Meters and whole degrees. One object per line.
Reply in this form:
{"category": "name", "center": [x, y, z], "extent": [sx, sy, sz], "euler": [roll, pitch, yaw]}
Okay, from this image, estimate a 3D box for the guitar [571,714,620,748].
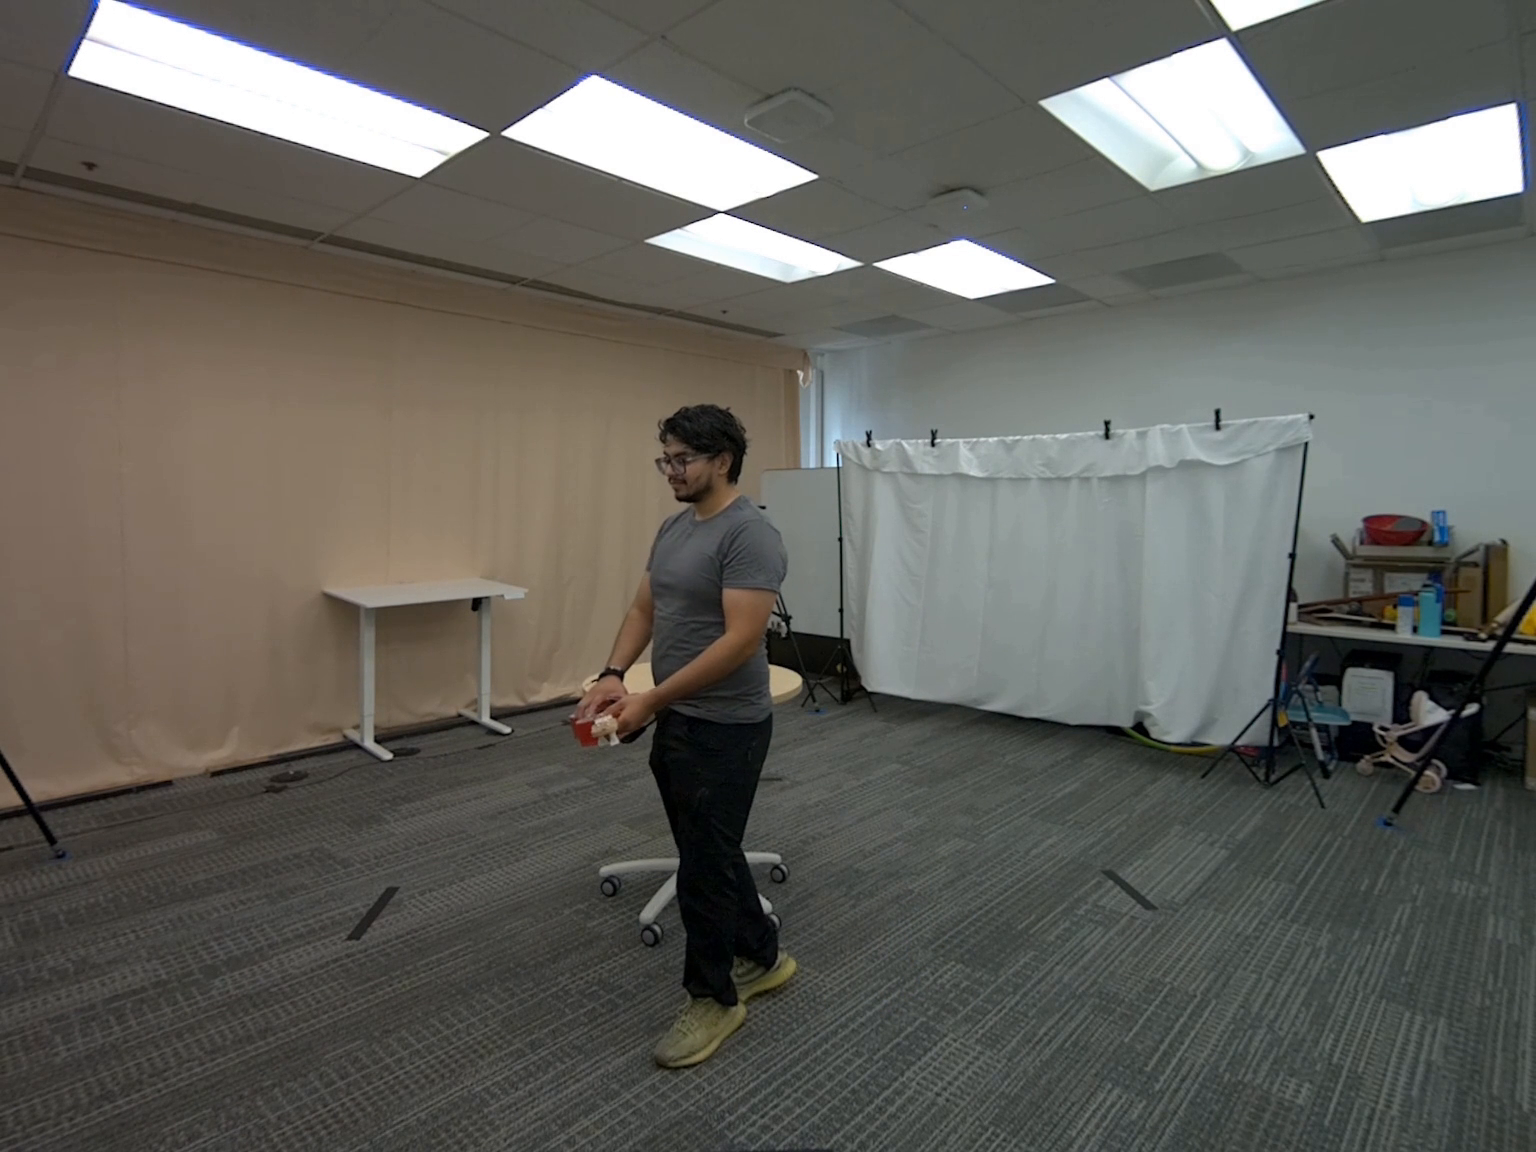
{"category": "guitar", "center": [-0.409, 0.358, 2.008], "extent": [0.193, 0.070, 0.499], "euler": [-24, 4, -1]}
